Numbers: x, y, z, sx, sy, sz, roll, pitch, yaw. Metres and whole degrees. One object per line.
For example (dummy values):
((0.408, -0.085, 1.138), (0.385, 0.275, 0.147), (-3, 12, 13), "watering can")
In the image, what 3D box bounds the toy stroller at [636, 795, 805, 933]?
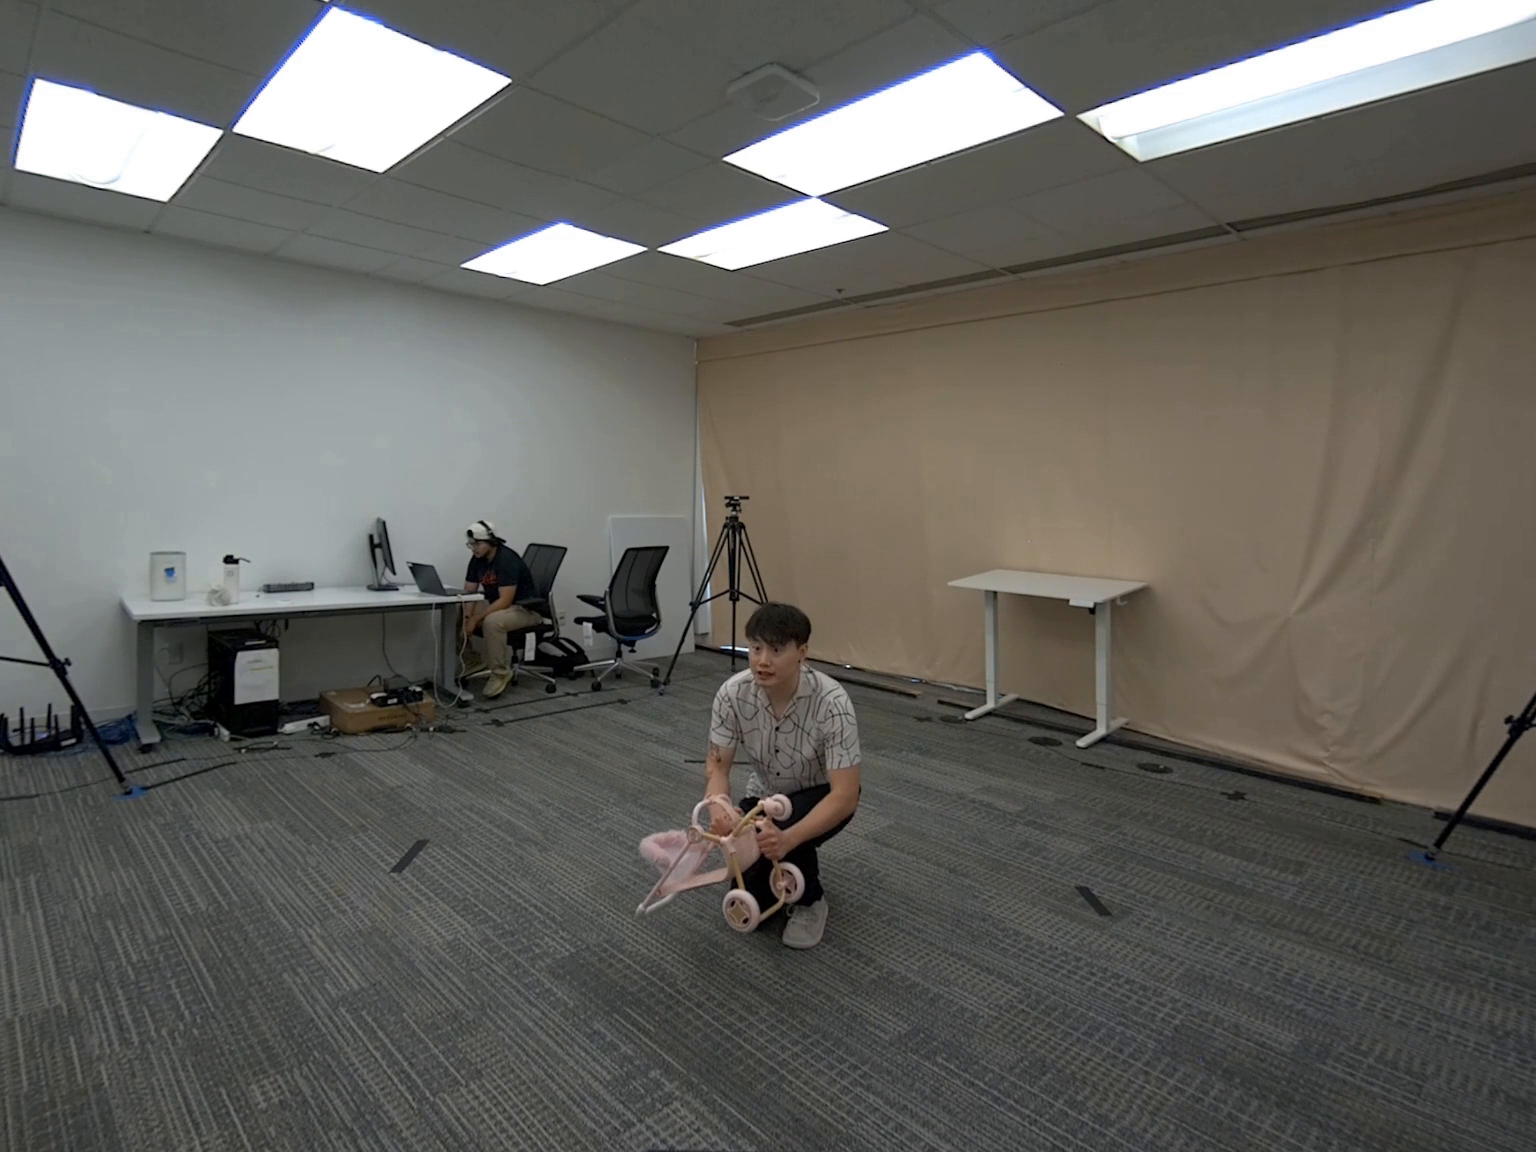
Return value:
((-0.155, 0.800, 2.379), (0.544, 0.342, 0.276), (-10, -3, 31), "toy stroller")
